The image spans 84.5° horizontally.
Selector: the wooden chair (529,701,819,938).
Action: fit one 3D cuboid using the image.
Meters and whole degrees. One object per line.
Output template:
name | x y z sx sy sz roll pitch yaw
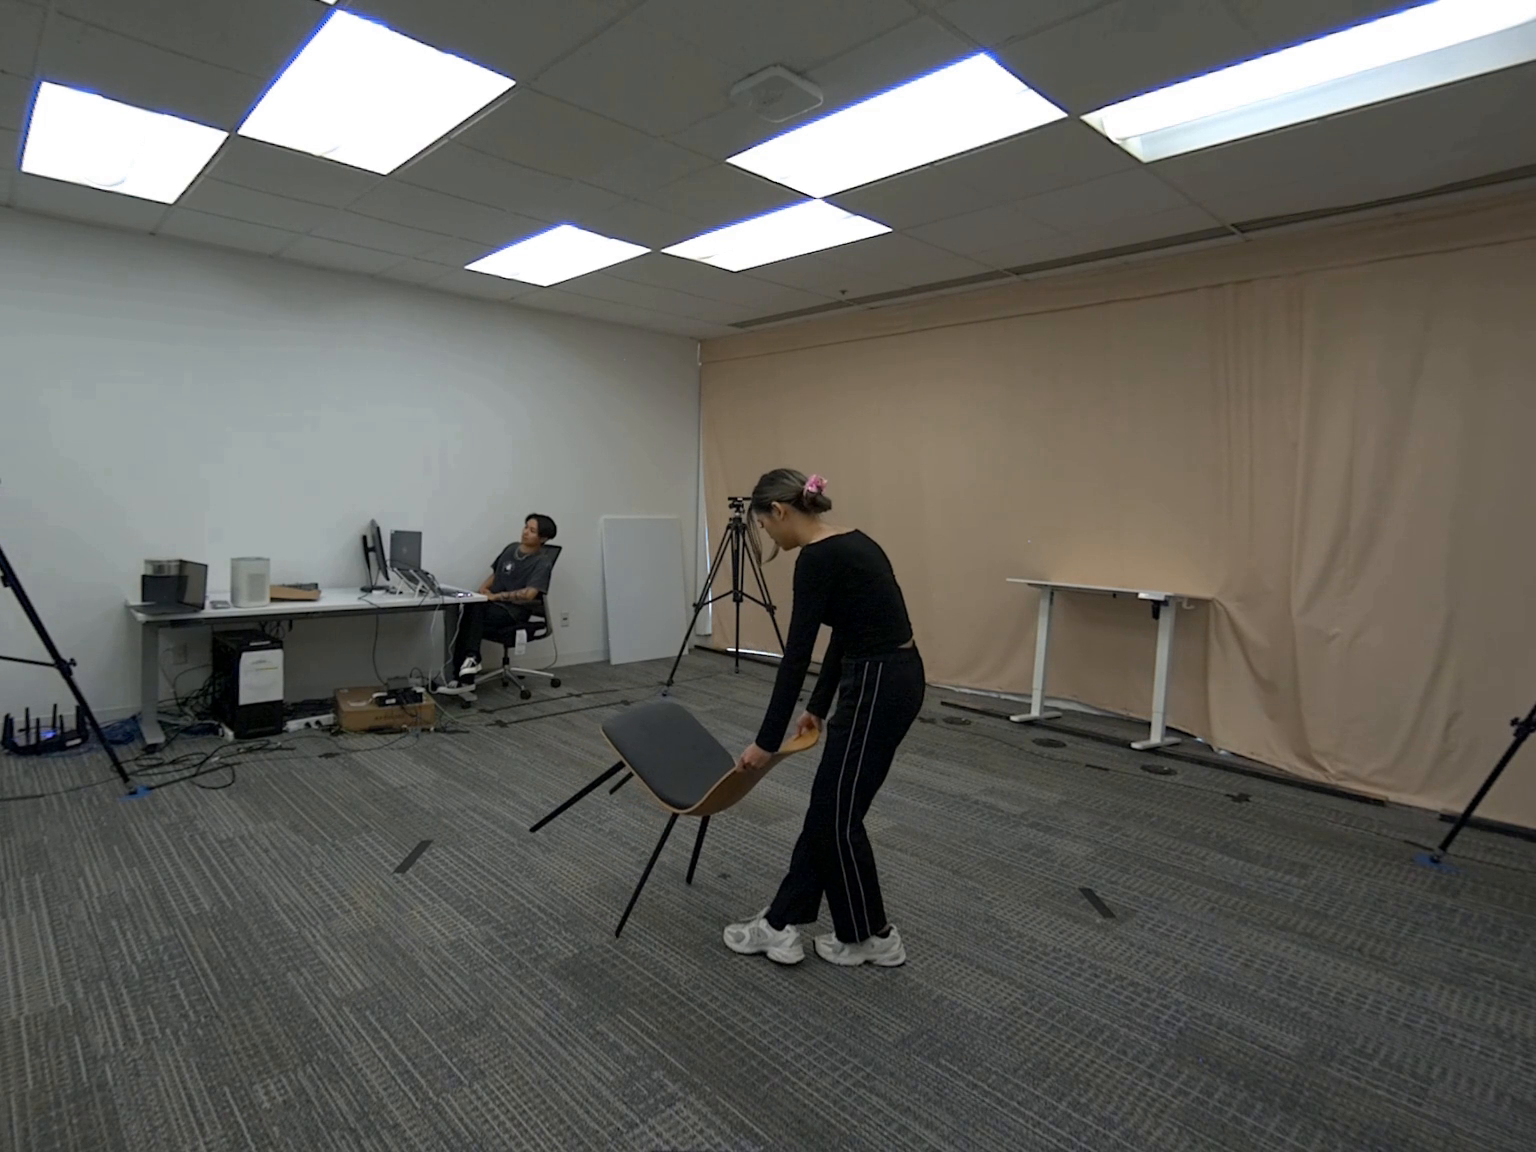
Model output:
wooden chair | -0.309 0.647 2.785 0.534 0.876 0.469 47 22 19
